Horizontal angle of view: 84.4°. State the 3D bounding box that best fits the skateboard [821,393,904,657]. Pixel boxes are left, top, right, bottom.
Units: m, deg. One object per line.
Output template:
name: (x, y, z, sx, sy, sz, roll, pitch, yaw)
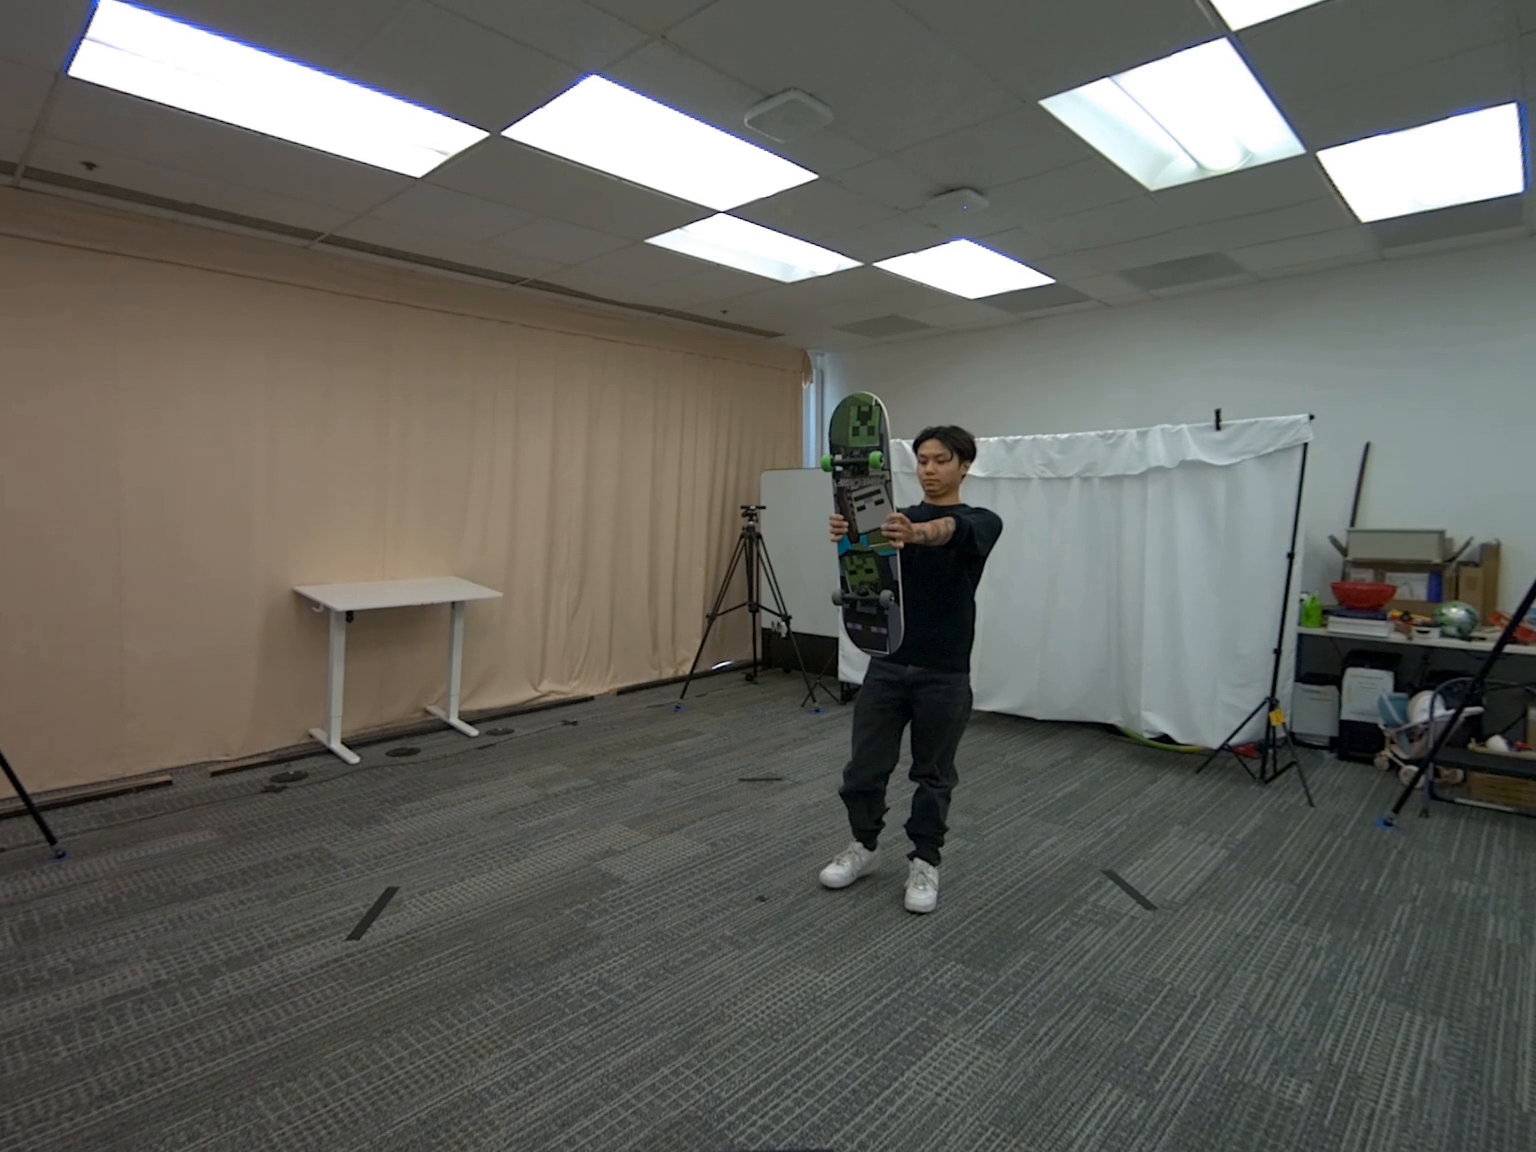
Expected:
skateboard: (0.279, -0.134, 2.458, 0.199, 0.781, 0.107, 0, 9, 35)
